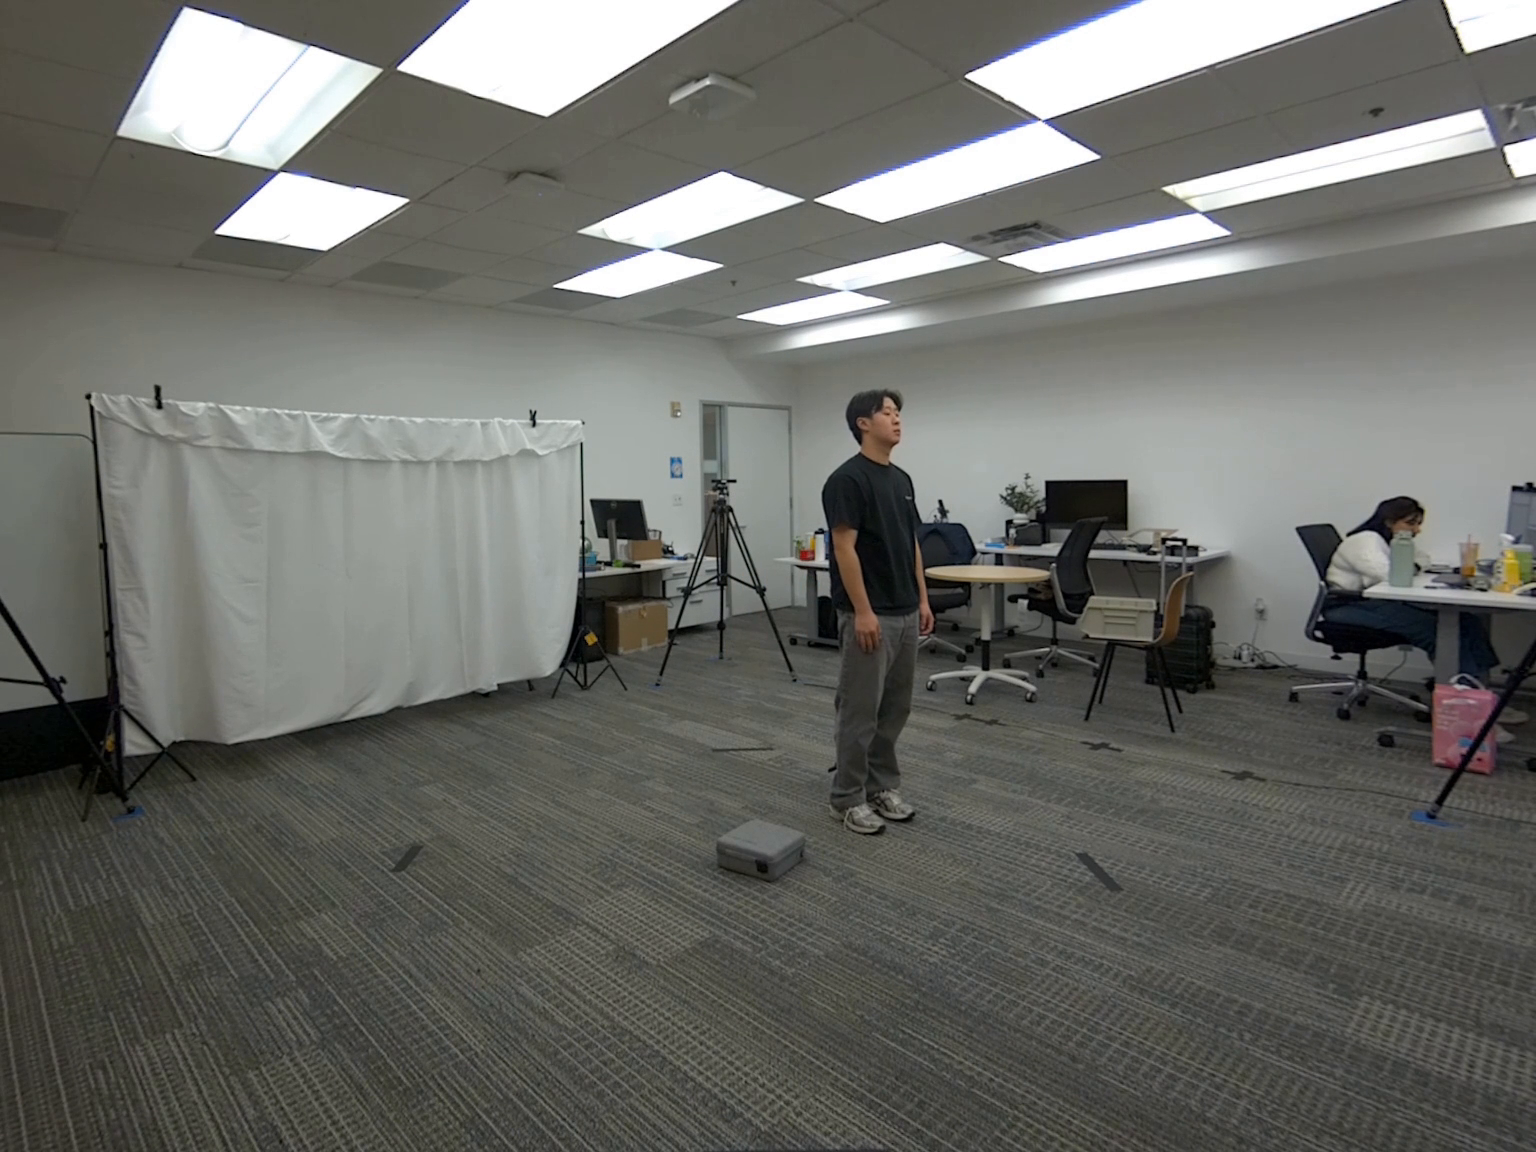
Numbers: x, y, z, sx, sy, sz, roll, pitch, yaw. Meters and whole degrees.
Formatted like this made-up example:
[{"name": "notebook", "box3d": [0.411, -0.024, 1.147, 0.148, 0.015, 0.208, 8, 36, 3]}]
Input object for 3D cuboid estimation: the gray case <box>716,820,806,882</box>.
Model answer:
[{"name": "gray case", "box3d": [-0.016, 0.991, 3.122, 0.271, 0.103, 0.280, 3, 6, 34]}]
